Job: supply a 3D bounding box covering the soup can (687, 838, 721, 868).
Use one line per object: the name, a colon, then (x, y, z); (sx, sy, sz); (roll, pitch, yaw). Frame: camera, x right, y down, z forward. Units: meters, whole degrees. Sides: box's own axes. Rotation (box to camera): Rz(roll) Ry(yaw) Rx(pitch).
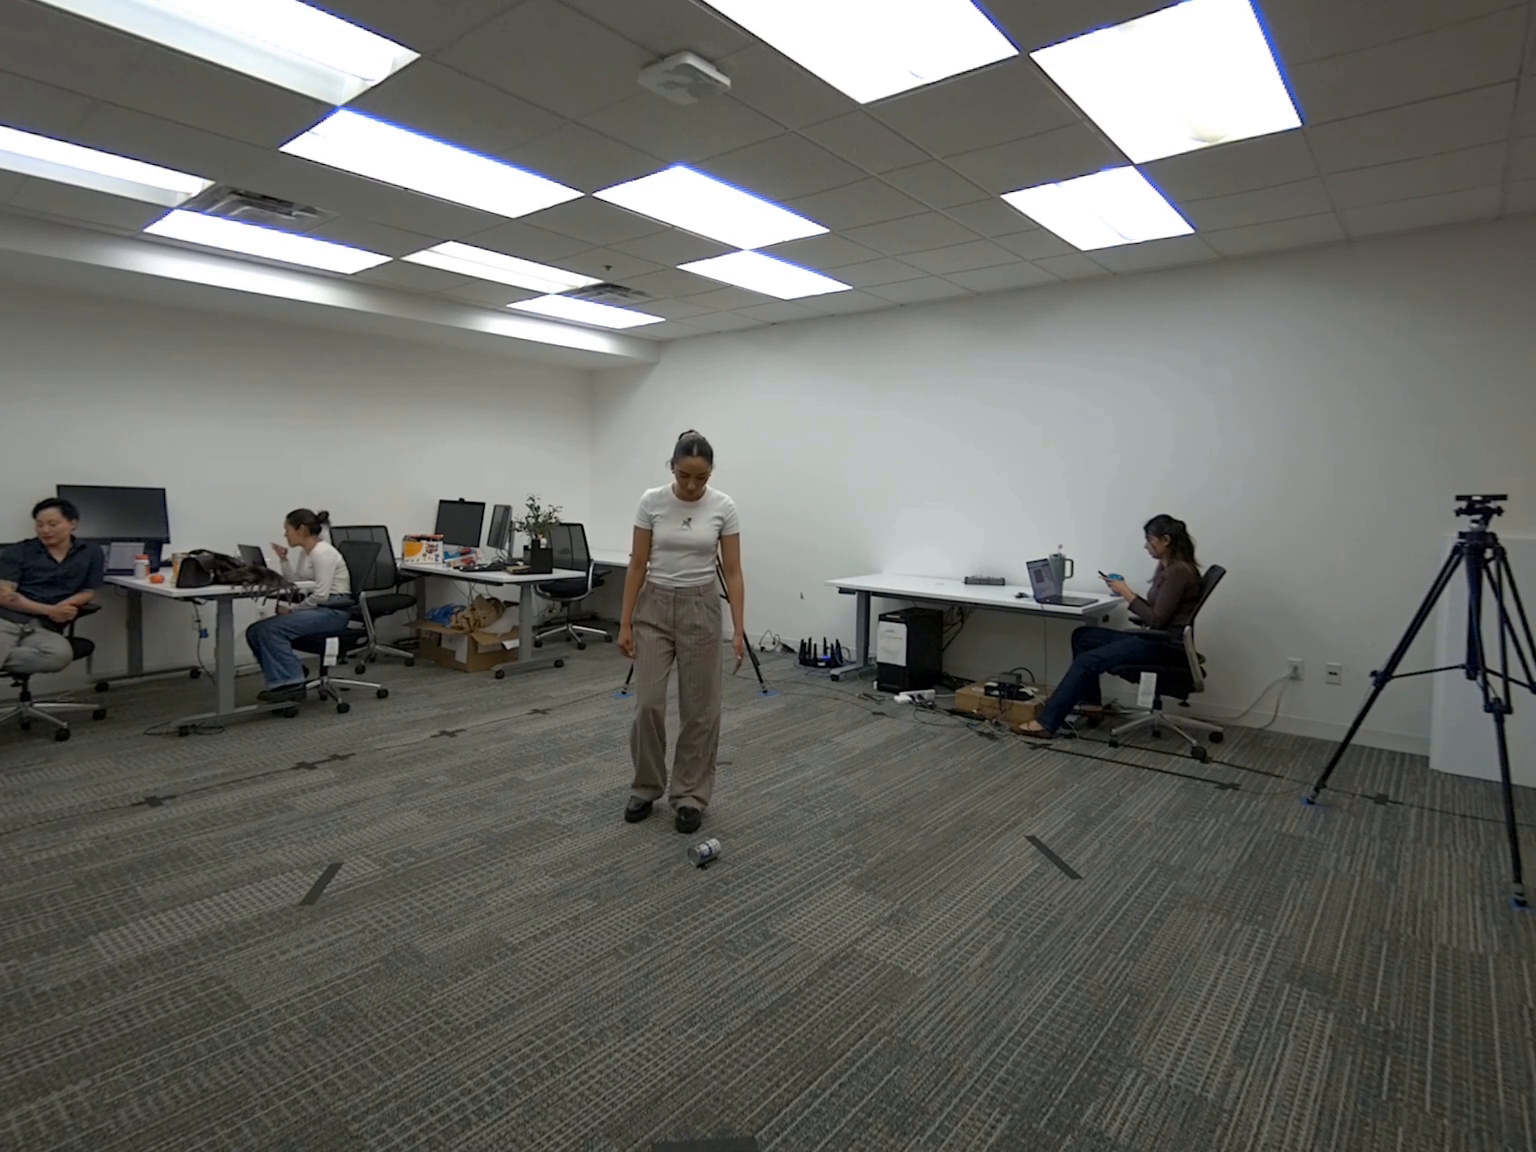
soup can: (-0.246, 1.016, 3.170); (0.069, 0.067, 0.118); (4, 10, 42)
